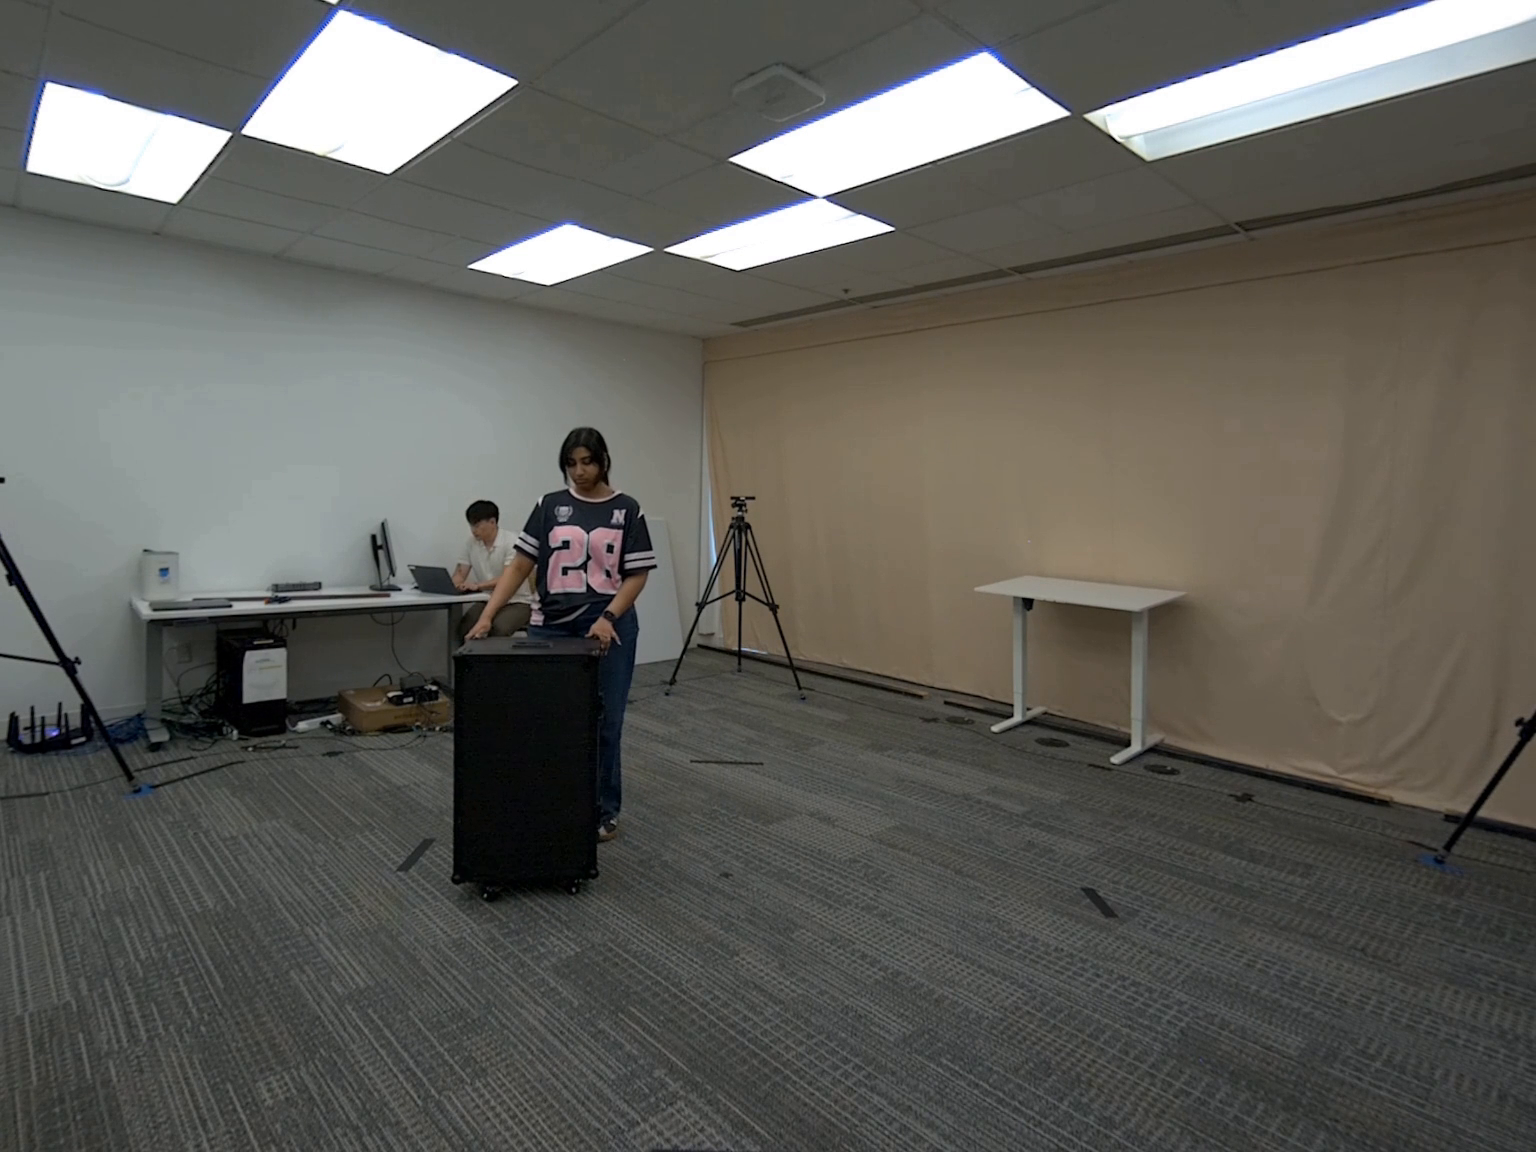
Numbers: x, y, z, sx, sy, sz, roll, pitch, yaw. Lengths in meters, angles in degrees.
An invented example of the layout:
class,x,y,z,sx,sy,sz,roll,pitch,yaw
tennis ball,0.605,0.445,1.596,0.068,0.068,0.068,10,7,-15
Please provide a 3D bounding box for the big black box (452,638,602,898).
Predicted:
class,x,y,z,sx,sy,sz,roll,pitch,yaw
big black box,-0.865,0.674,3.022,0.520,0.867,0.389,1,3,-9
